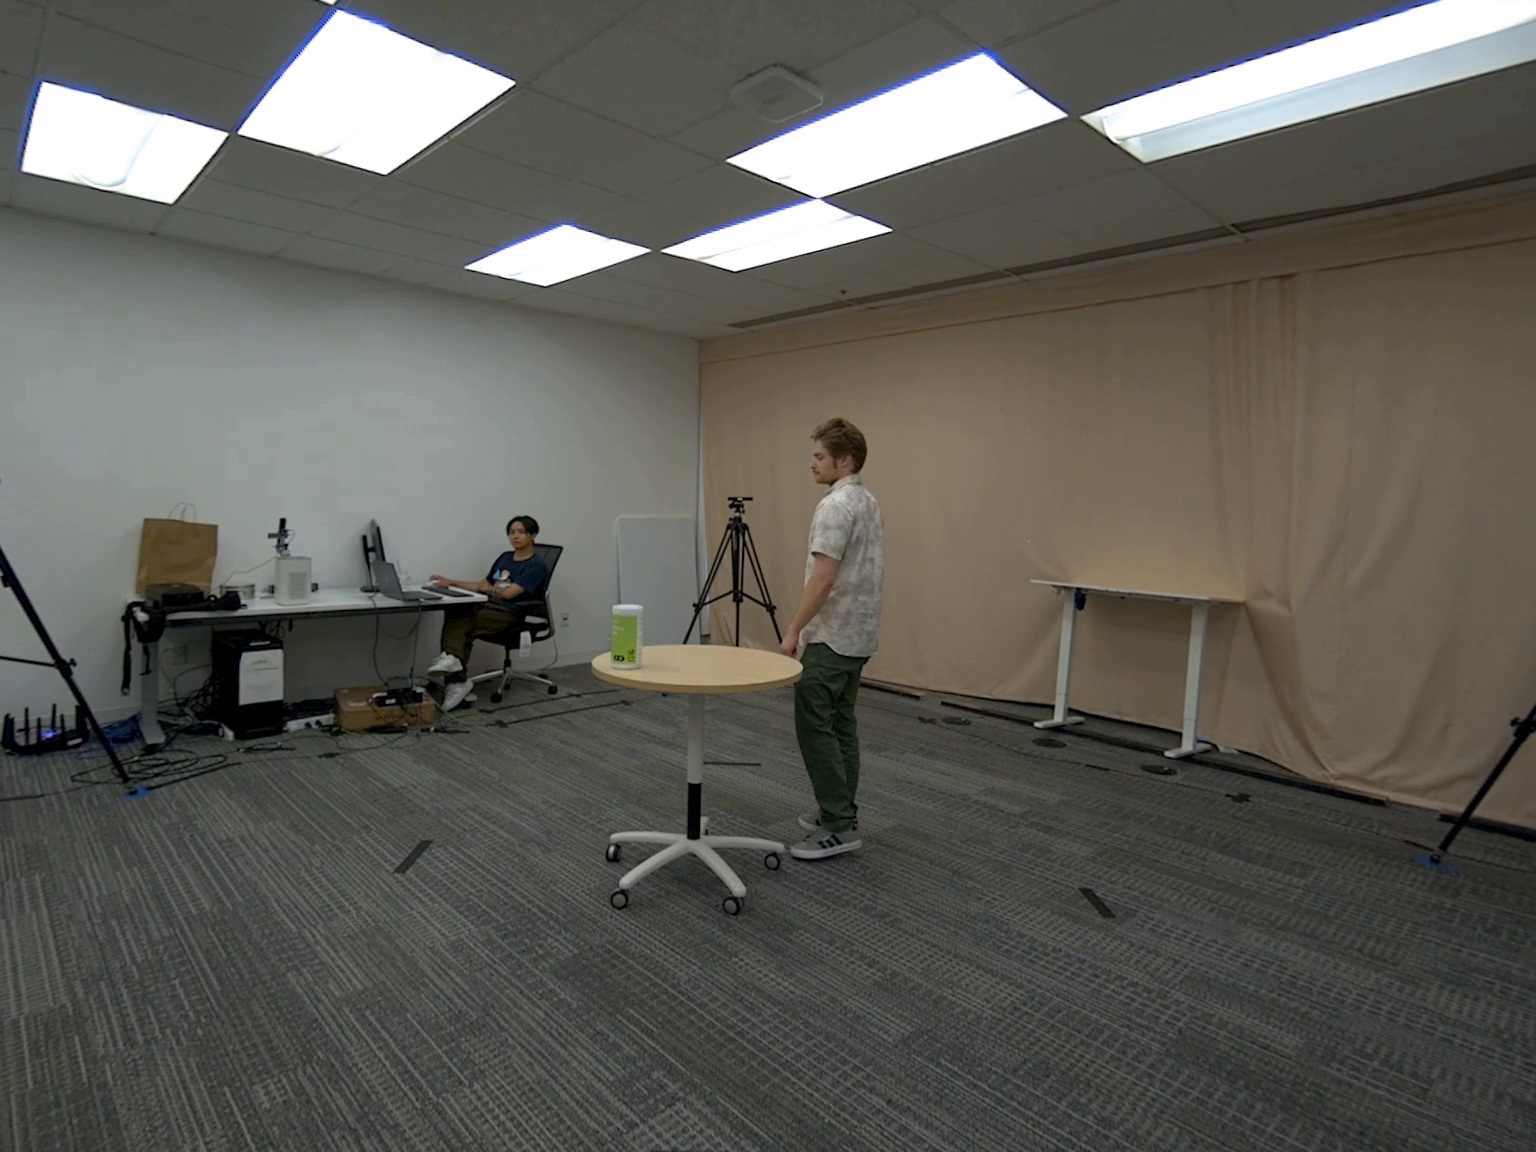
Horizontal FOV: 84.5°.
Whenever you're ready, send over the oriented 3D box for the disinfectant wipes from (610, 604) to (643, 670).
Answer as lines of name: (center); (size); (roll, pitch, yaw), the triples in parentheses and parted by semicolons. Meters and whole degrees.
disinfectant wipes: (-0.496, 0.212, 2.946); (0.118, 0.217, 0.118); (2, 5, -2)
